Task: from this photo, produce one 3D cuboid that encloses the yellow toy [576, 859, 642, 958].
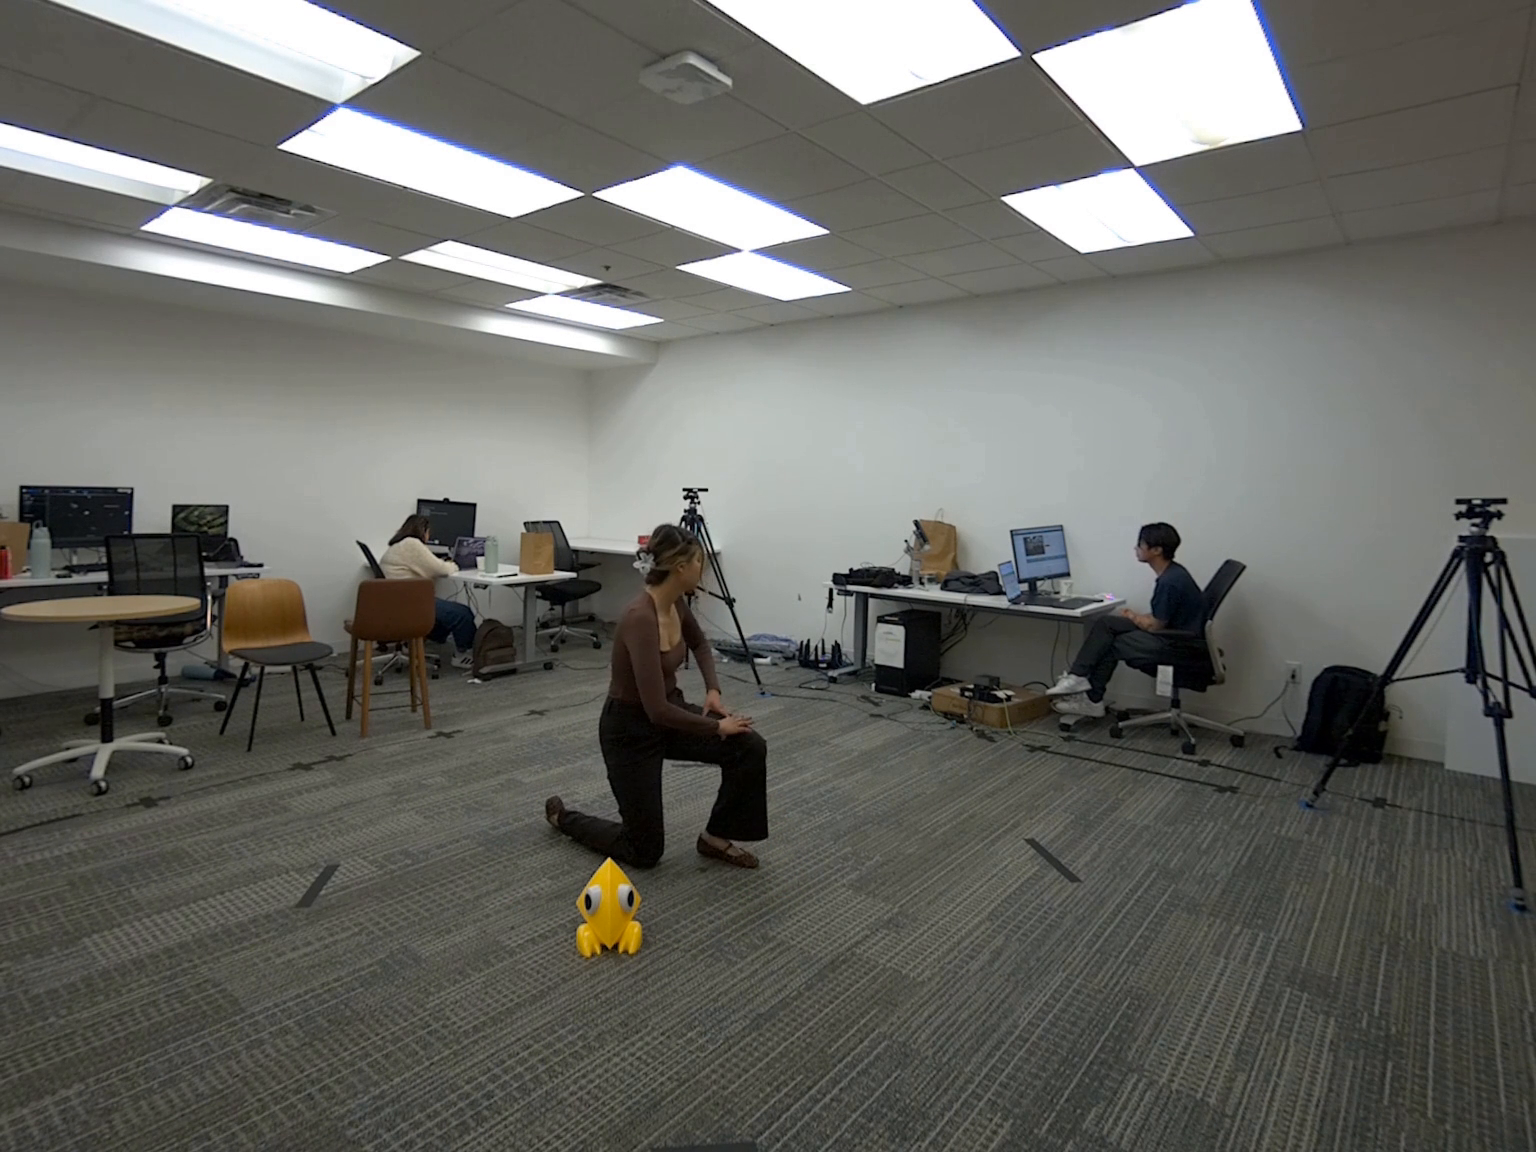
[{"bbox_3d":[-0.498,0.999,2.601,0.203,0.230,0.196,-1,4,-10],"label":"yellow toy"}]
